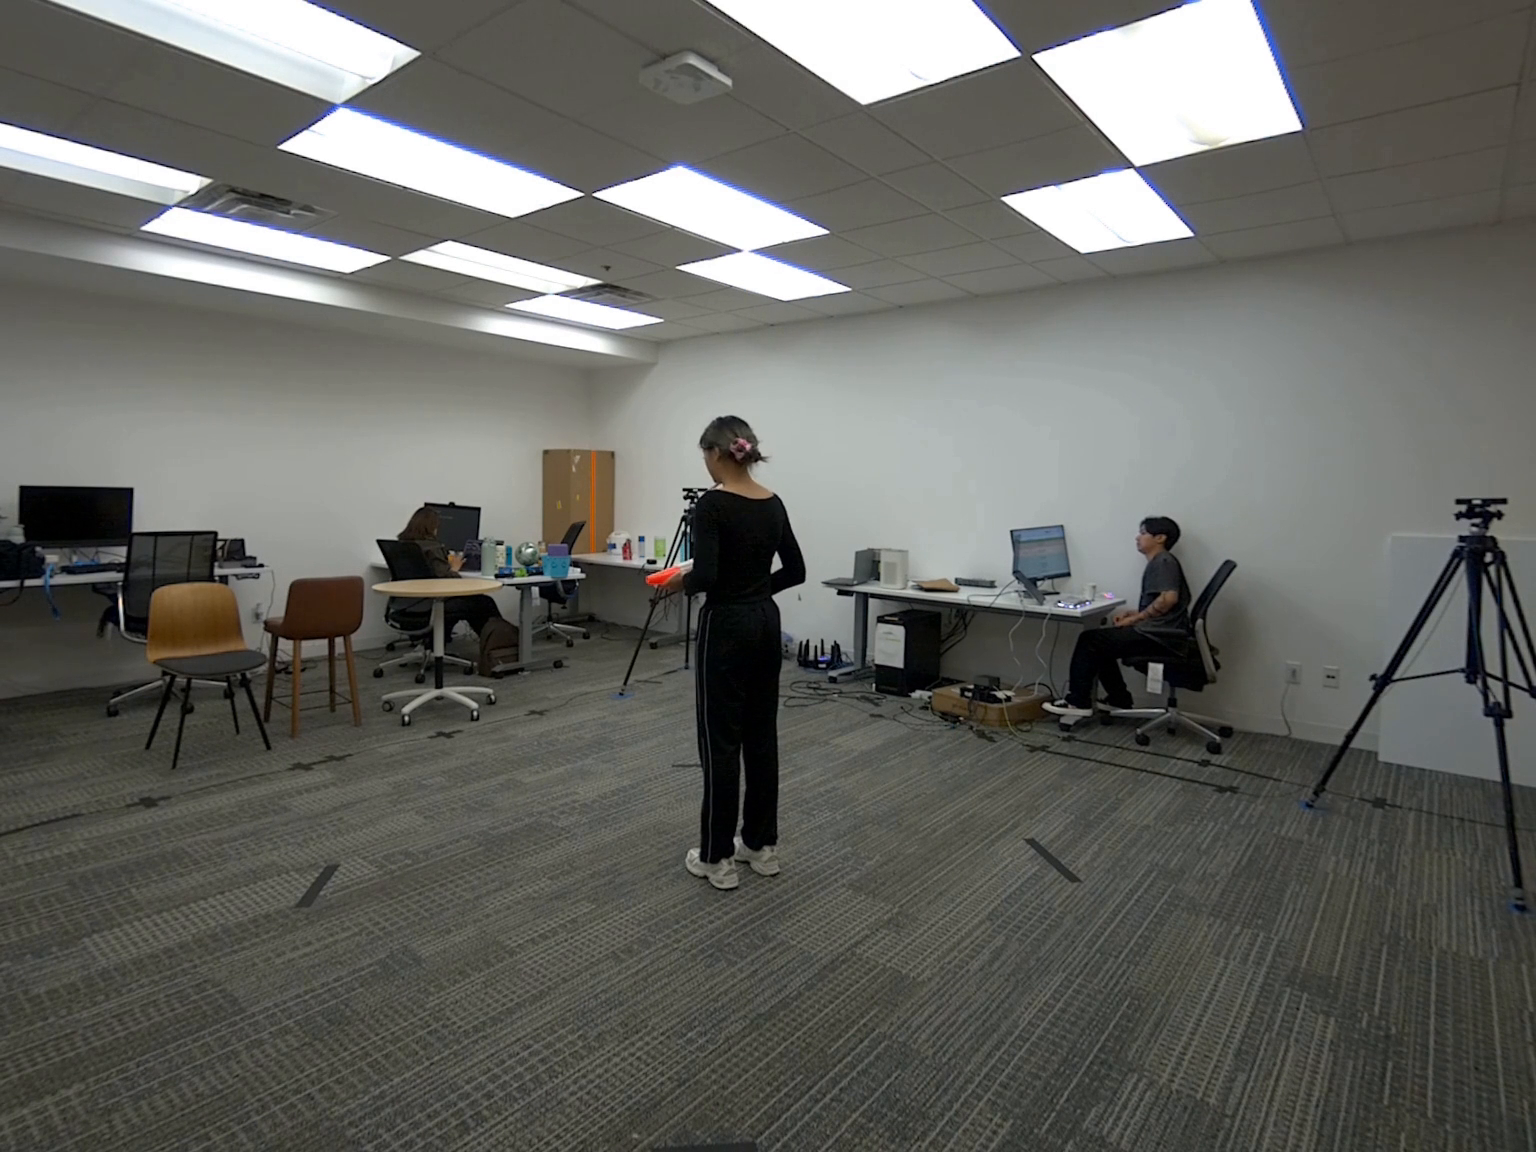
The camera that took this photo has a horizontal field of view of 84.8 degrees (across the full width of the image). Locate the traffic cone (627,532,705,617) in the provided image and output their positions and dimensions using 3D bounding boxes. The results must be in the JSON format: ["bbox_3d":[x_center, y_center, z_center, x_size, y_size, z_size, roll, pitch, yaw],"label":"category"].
[{"bbox_3d":[-0.304,-0.023,3.181,0.376,0.210,0.203,-11,-28,-26],"label":"traffic cone"}]
